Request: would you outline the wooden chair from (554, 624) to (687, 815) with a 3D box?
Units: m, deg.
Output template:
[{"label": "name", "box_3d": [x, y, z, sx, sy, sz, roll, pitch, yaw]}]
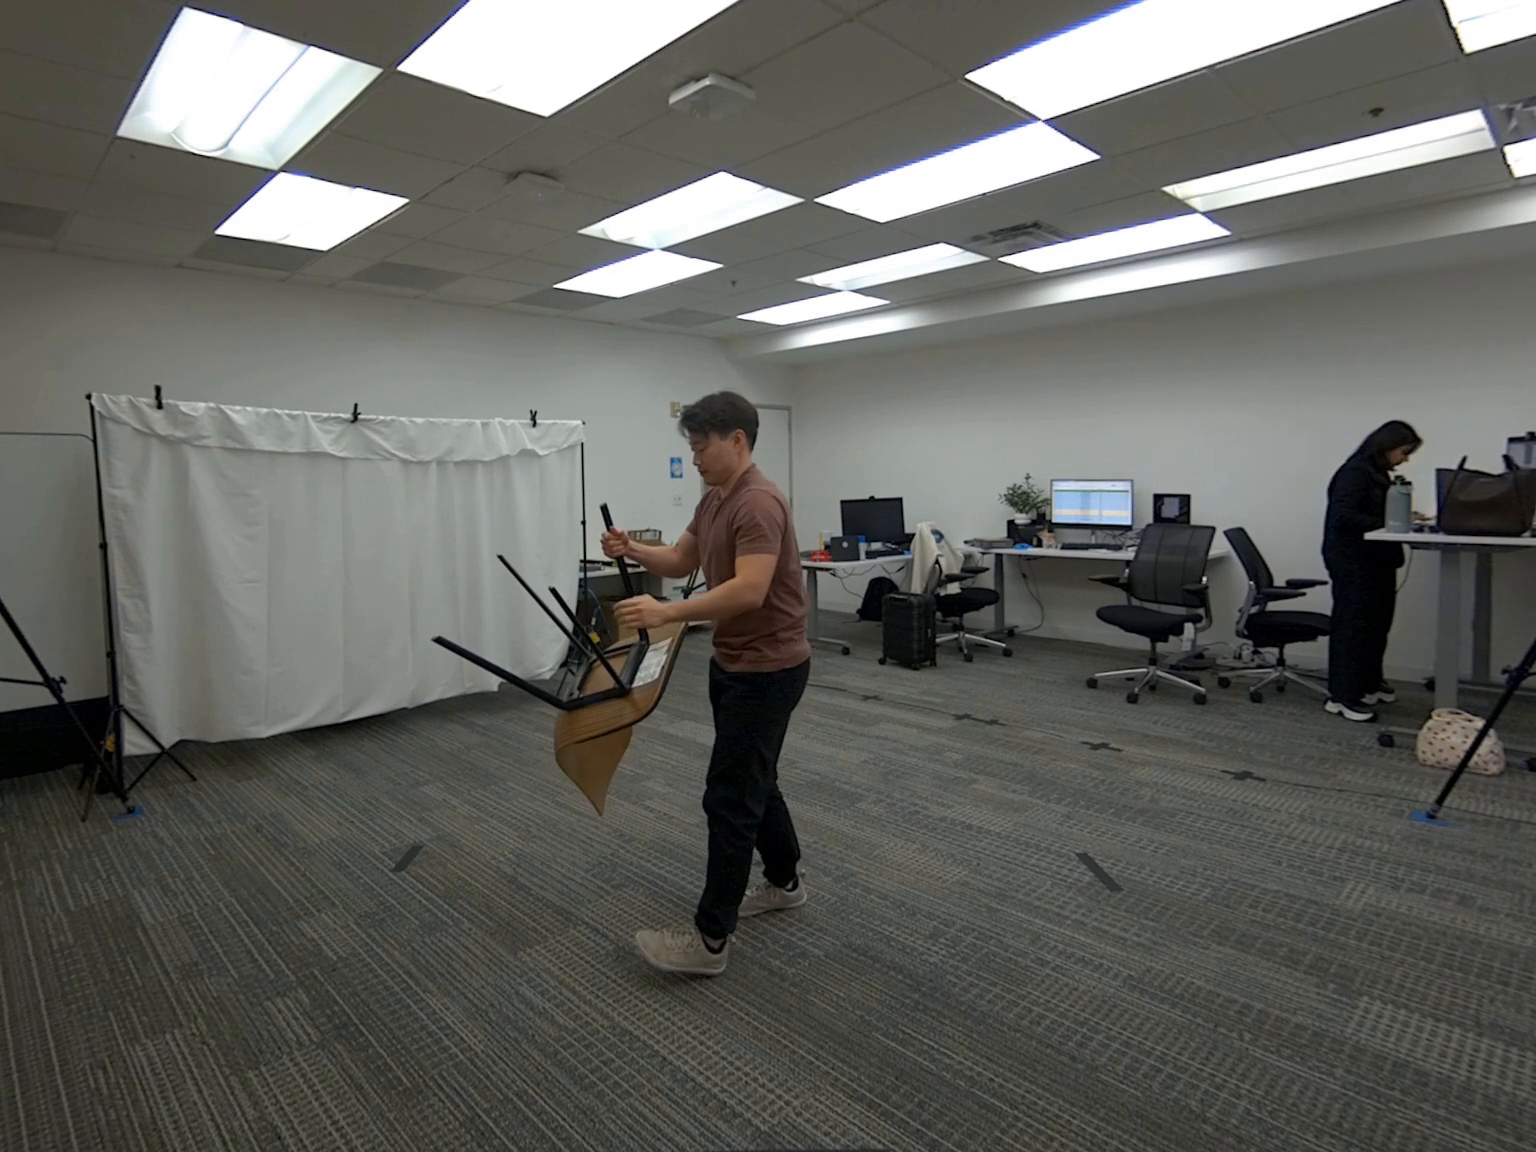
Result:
[{"label": "wooden chair", "box_3d": [-0.497, 0.306, 2.640, 0.530, 0.854, 0.485, -19, 26, 23]}]
